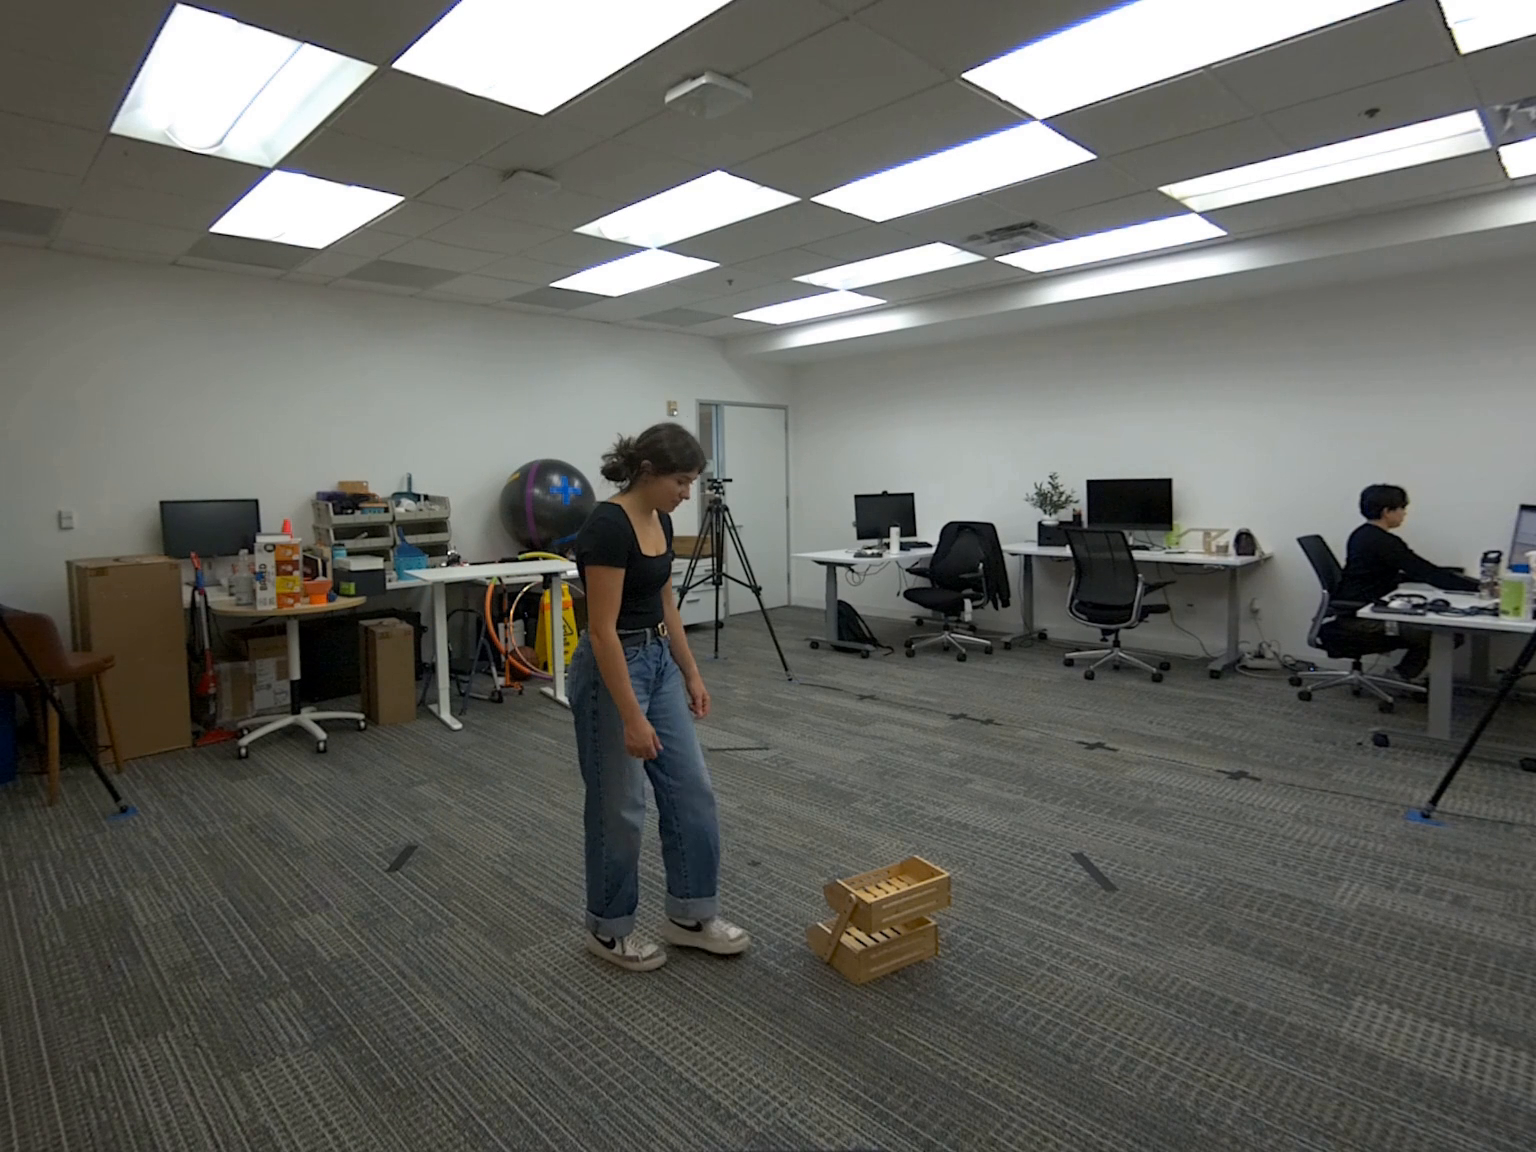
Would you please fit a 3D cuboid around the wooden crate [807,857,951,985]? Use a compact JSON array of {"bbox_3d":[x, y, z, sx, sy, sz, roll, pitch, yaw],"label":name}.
[{"bbox_3d":[0.320,0.974,2.498,0.317,0.272,0.311,-5,7,-32],"label":"wooden crate"}]
